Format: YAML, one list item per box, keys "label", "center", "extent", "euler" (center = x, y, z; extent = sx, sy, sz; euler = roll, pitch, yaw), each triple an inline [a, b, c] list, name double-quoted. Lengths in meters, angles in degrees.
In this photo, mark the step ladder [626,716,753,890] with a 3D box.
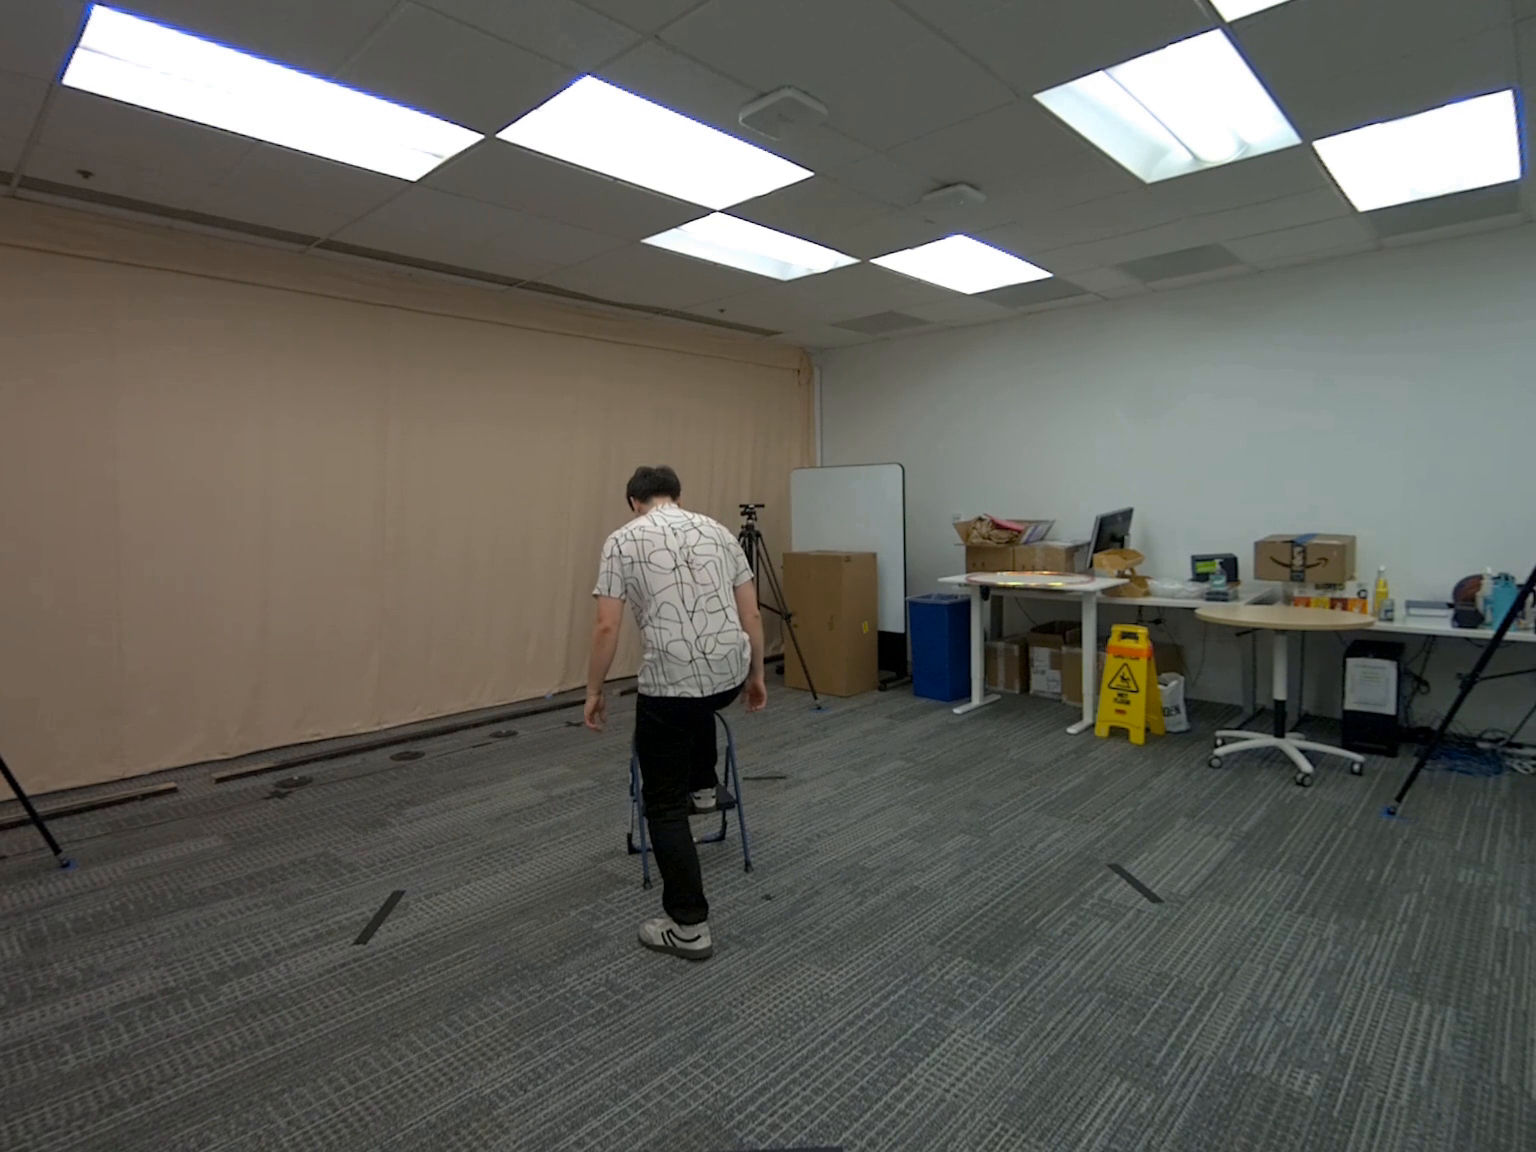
- label: "step ladder"
  center: [-0.320, 0.818, 3.284]
  extent: [0.422, 0.605, 0.357]
  euler: [-2, 3, -20]
